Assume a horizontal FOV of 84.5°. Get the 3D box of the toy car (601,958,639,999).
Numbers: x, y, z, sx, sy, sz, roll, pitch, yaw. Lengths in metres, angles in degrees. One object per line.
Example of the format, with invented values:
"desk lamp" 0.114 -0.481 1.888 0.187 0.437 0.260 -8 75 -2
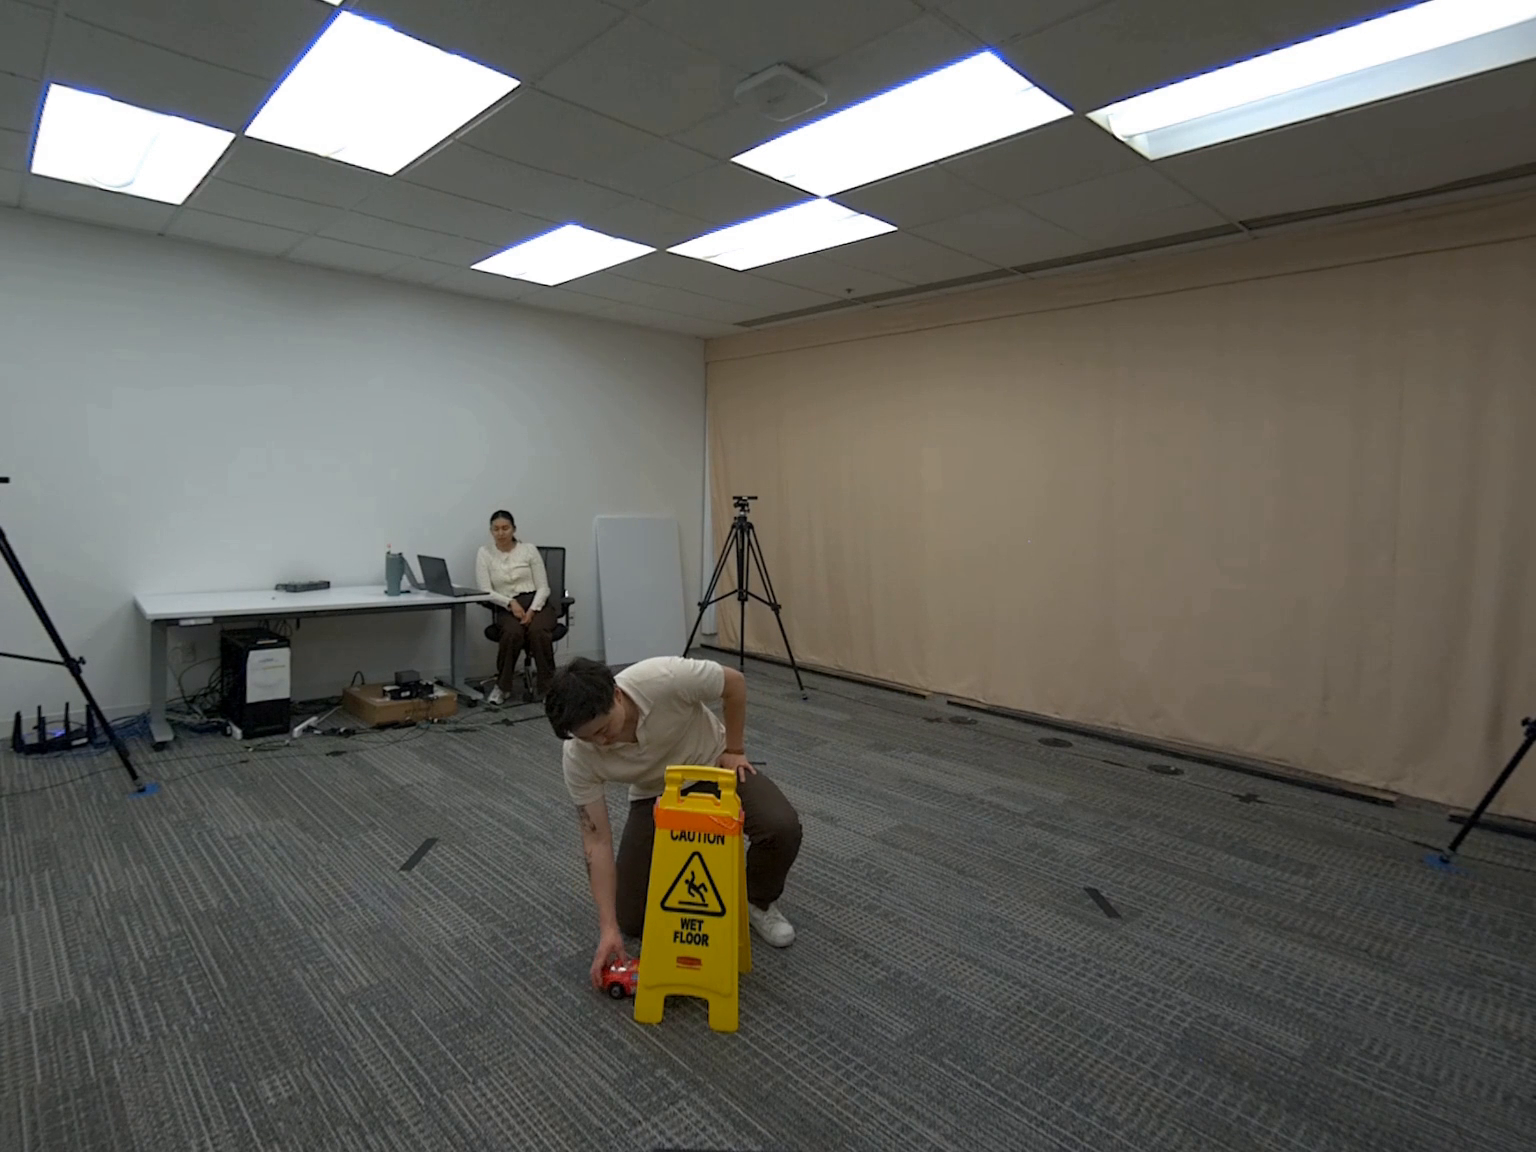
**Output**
"toy car" -0.361 1.146 2.349 0.257 0.083 0.129 14 6 11
